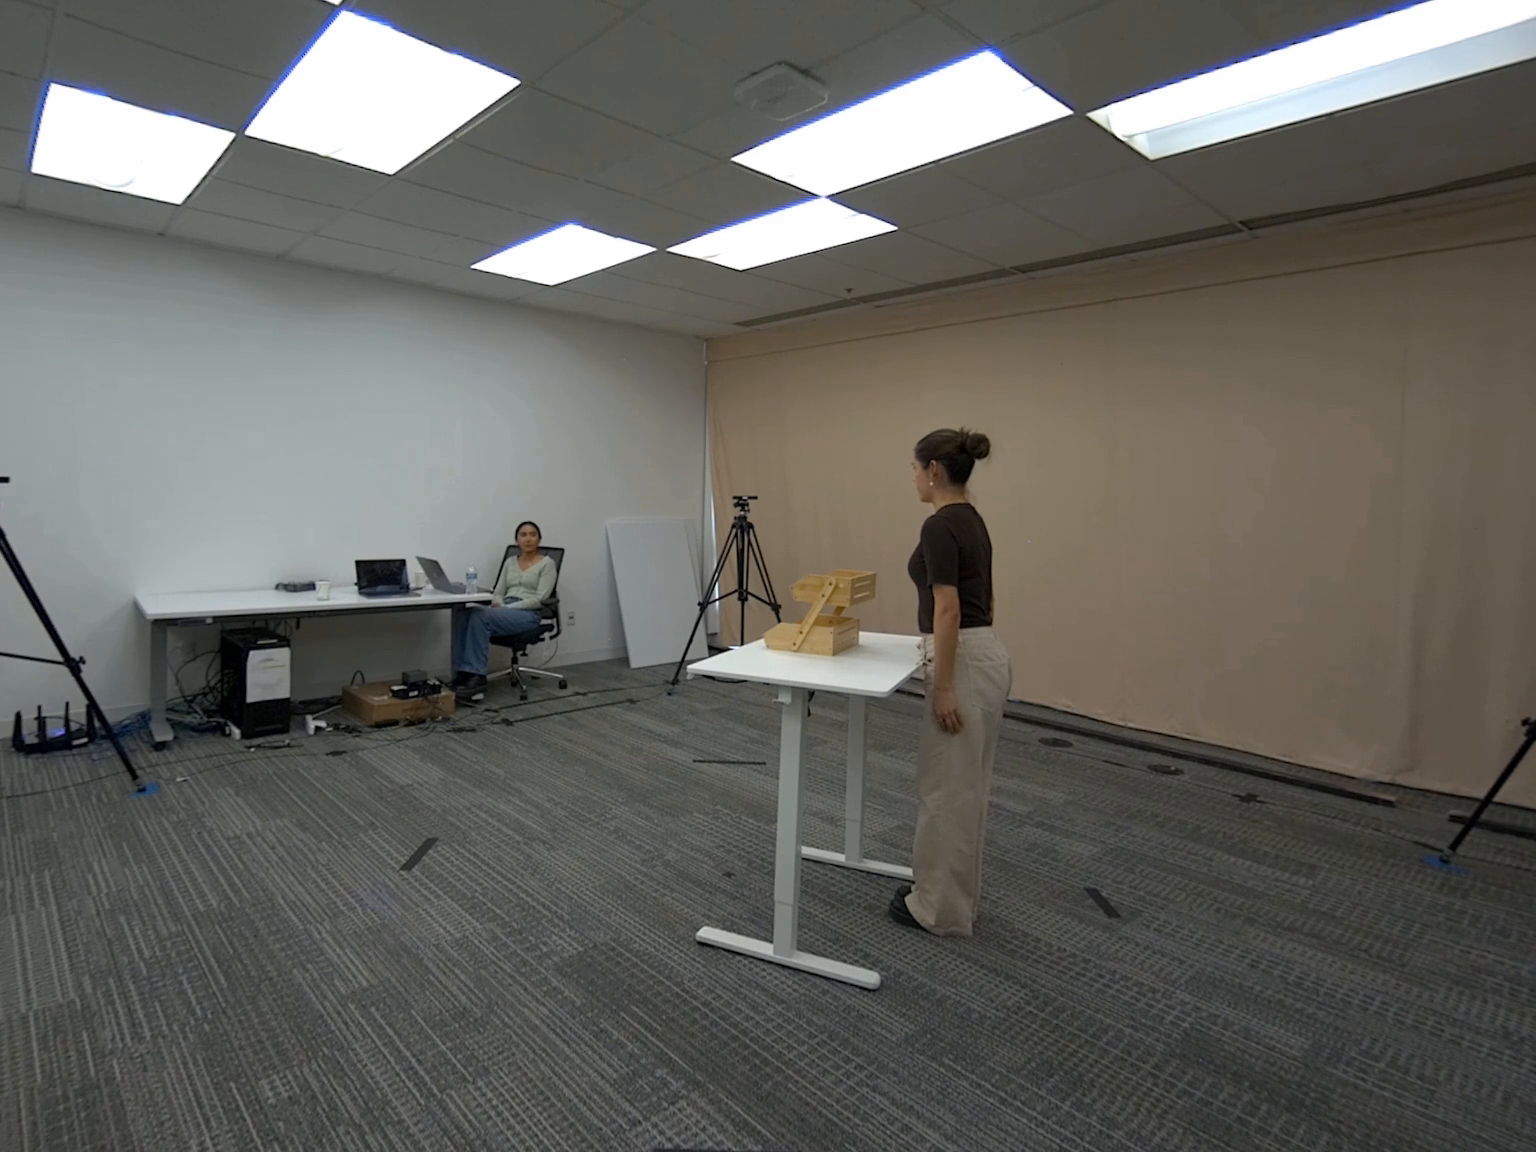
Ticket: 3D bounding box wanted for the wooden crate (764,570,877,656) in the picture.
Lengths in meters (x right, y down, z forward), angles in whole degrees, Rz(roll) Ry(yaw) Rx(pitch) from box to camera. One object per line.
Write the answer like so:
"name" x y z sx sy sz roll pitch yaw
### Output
"wooden crate" 0.175 0.115 2.908 0.308 0.272 0.319 5 5 23
